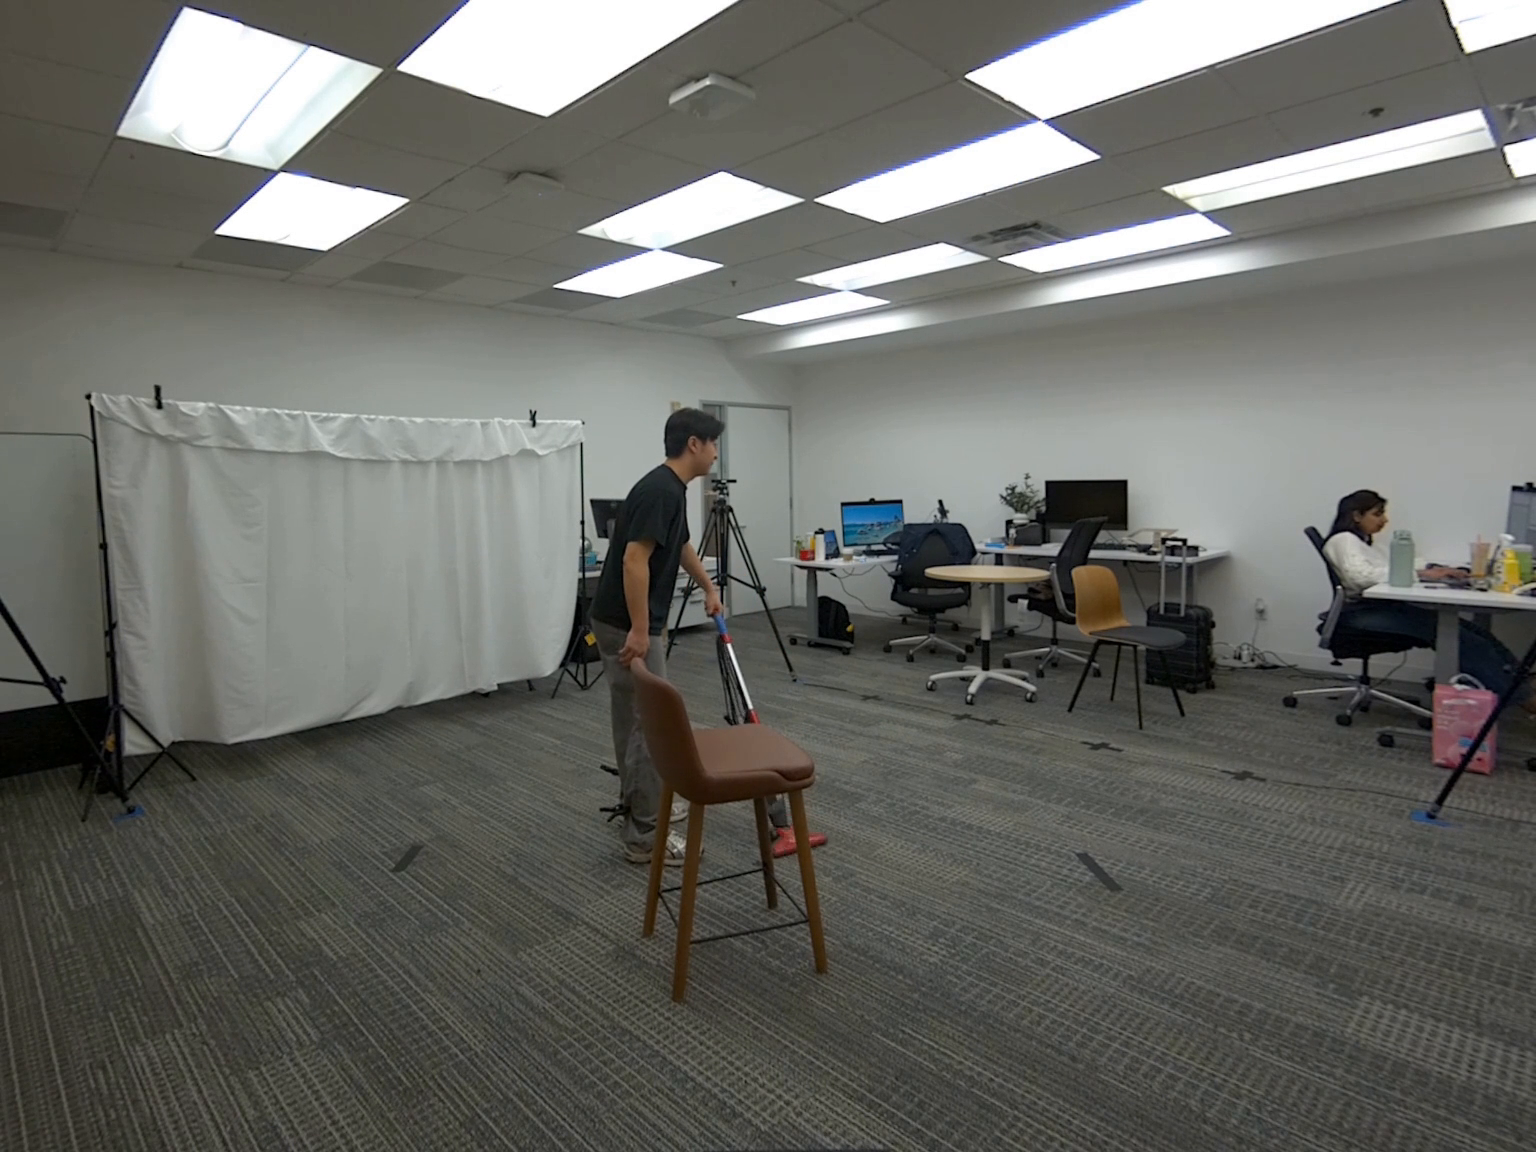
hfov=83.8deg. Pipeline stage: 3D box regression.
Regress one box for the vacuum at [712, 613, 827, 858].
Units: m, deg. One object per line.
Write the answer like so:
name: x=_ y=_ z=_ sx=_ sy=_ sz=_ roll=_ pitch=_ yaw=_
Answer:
vacuum: x=-0.086 y=0.566 z=3.499 sx=0.246 sy=1.079 sz=0.144 roll=-2 pitch=-31 yaw=-36
